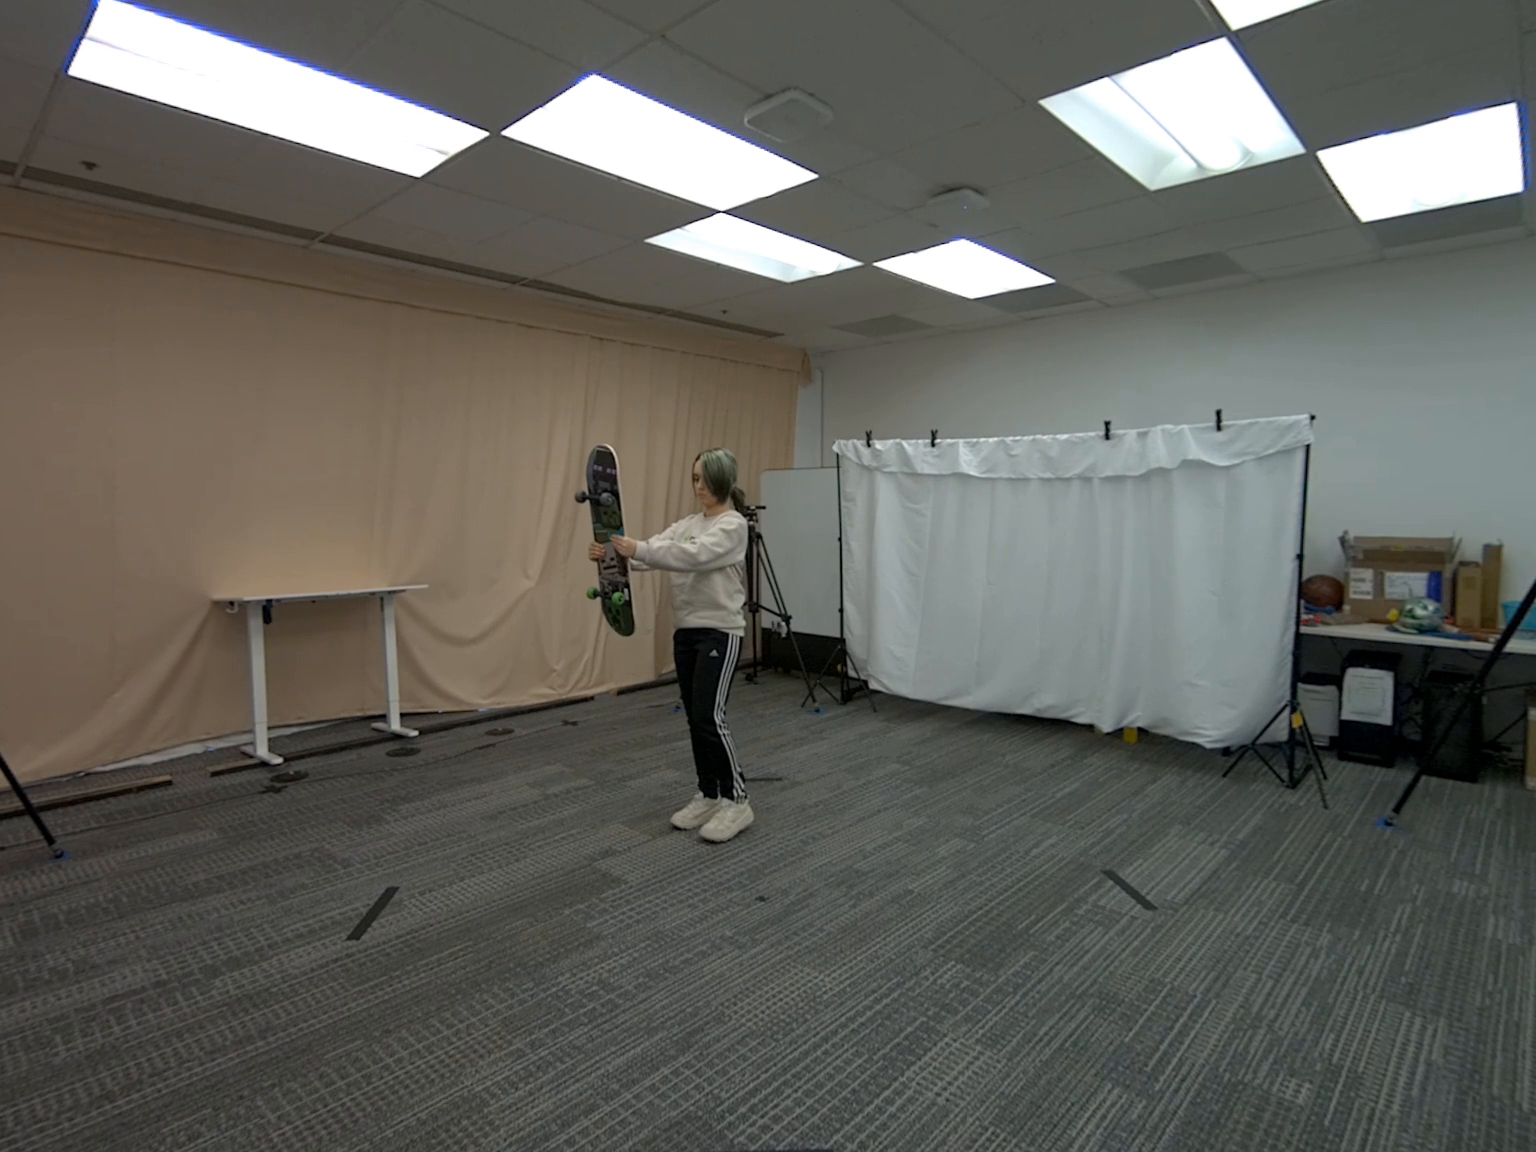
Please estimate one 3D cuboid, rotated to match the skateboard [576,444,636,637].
[{"bbox_3d":[-0.645,-0.117,3.327,0.200,0.778,0.108,7,17,39],"label":"skateboard"}]
